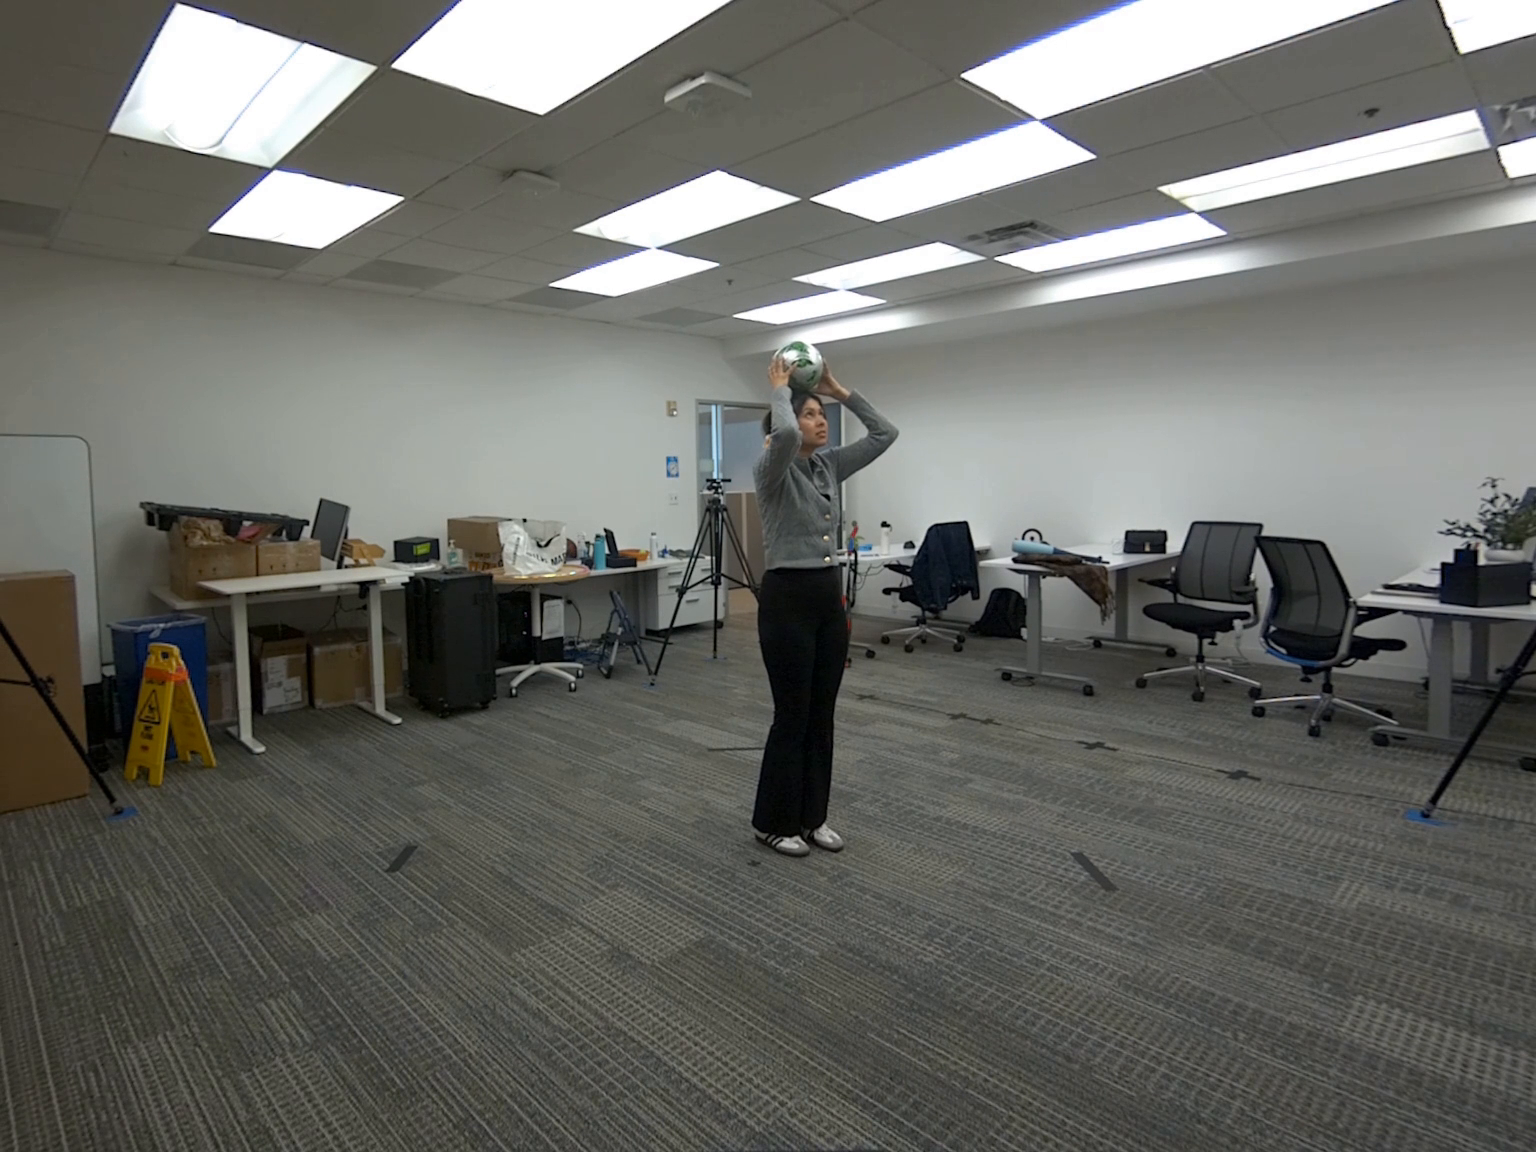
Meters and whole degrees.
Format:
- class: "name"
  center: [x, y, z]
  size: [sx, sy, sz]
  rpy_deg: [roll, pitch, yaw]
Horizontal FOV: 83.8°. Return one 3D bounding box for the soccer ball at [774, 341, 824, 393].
- class: "soccer ball"
  center: [0.108, -0.769, 3.137]
  size: [0.187, 0.187, 0.188]
  rpy_deg: [-1, 5, -2]
